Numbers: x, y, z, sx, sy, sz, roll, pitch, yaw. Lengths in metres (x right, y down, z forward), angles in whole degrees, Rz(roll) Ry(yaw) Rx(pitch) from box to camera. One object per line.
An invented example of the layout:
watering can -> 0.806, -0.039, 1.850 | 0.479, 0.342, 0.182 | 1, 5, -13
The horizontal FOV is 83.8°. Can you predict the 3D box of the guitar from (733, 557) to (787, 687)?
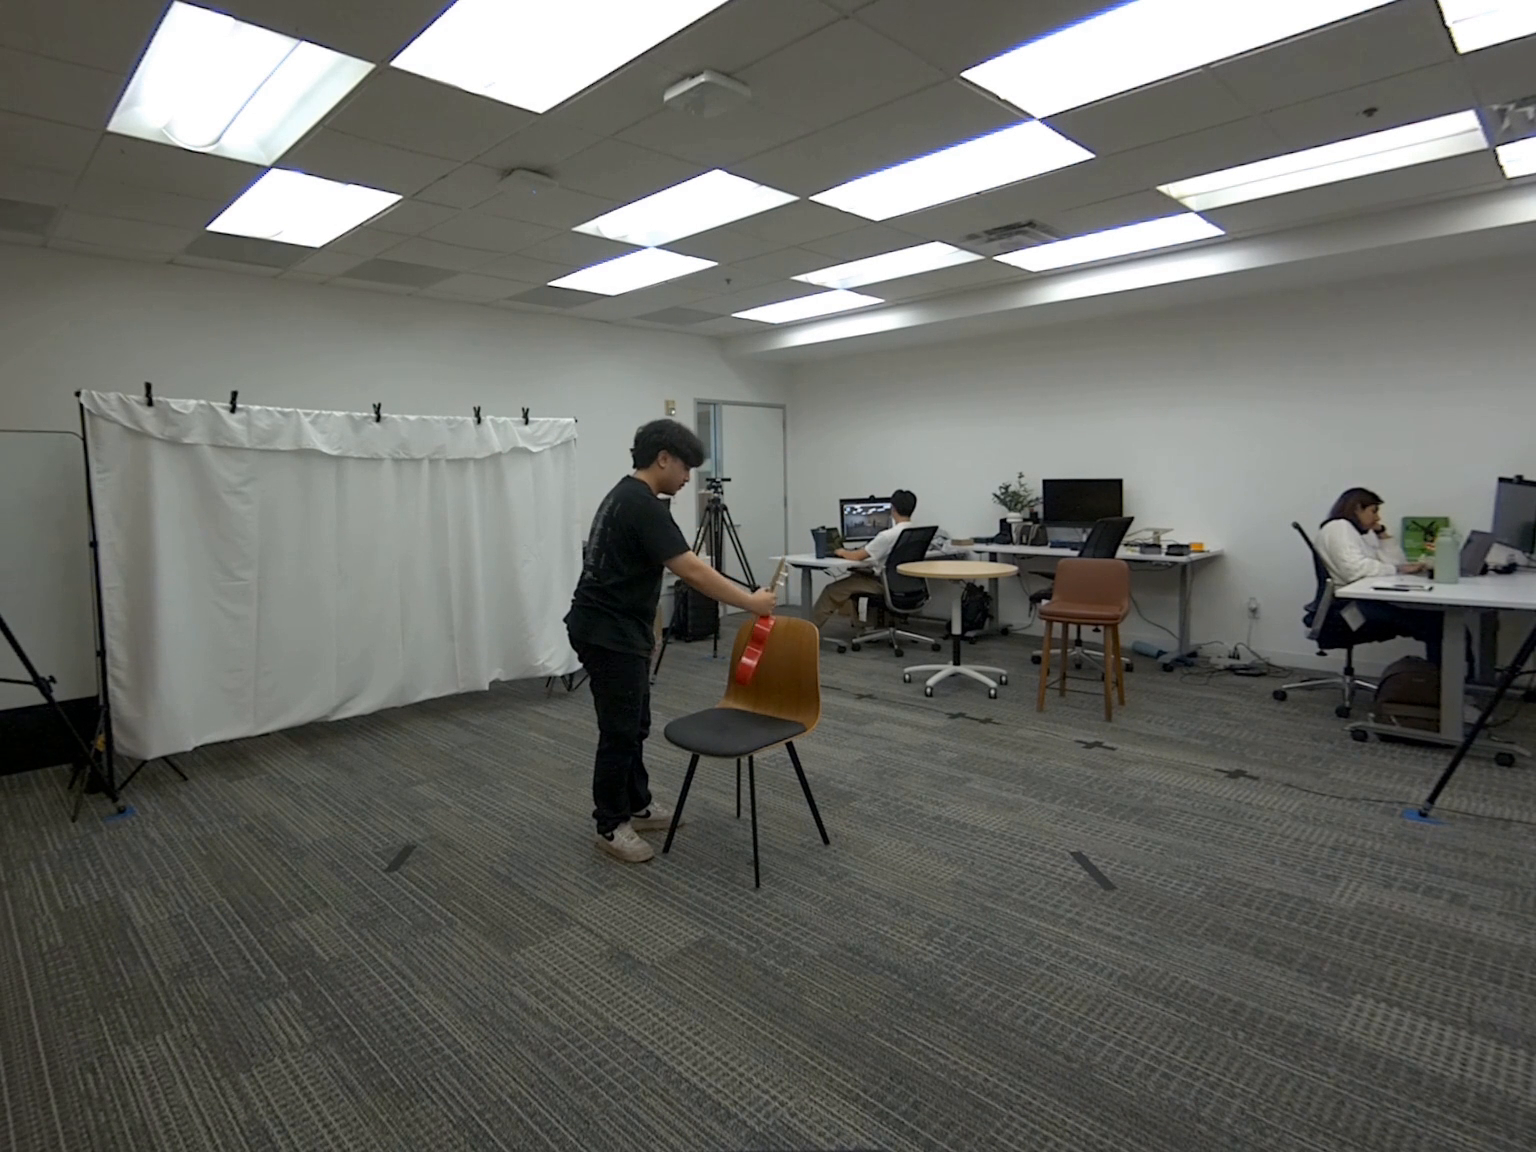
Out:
guitar -> -0.016, 0.174, 3.124 | 0.071, 0.494, 0.193 | 22, 14, 5
